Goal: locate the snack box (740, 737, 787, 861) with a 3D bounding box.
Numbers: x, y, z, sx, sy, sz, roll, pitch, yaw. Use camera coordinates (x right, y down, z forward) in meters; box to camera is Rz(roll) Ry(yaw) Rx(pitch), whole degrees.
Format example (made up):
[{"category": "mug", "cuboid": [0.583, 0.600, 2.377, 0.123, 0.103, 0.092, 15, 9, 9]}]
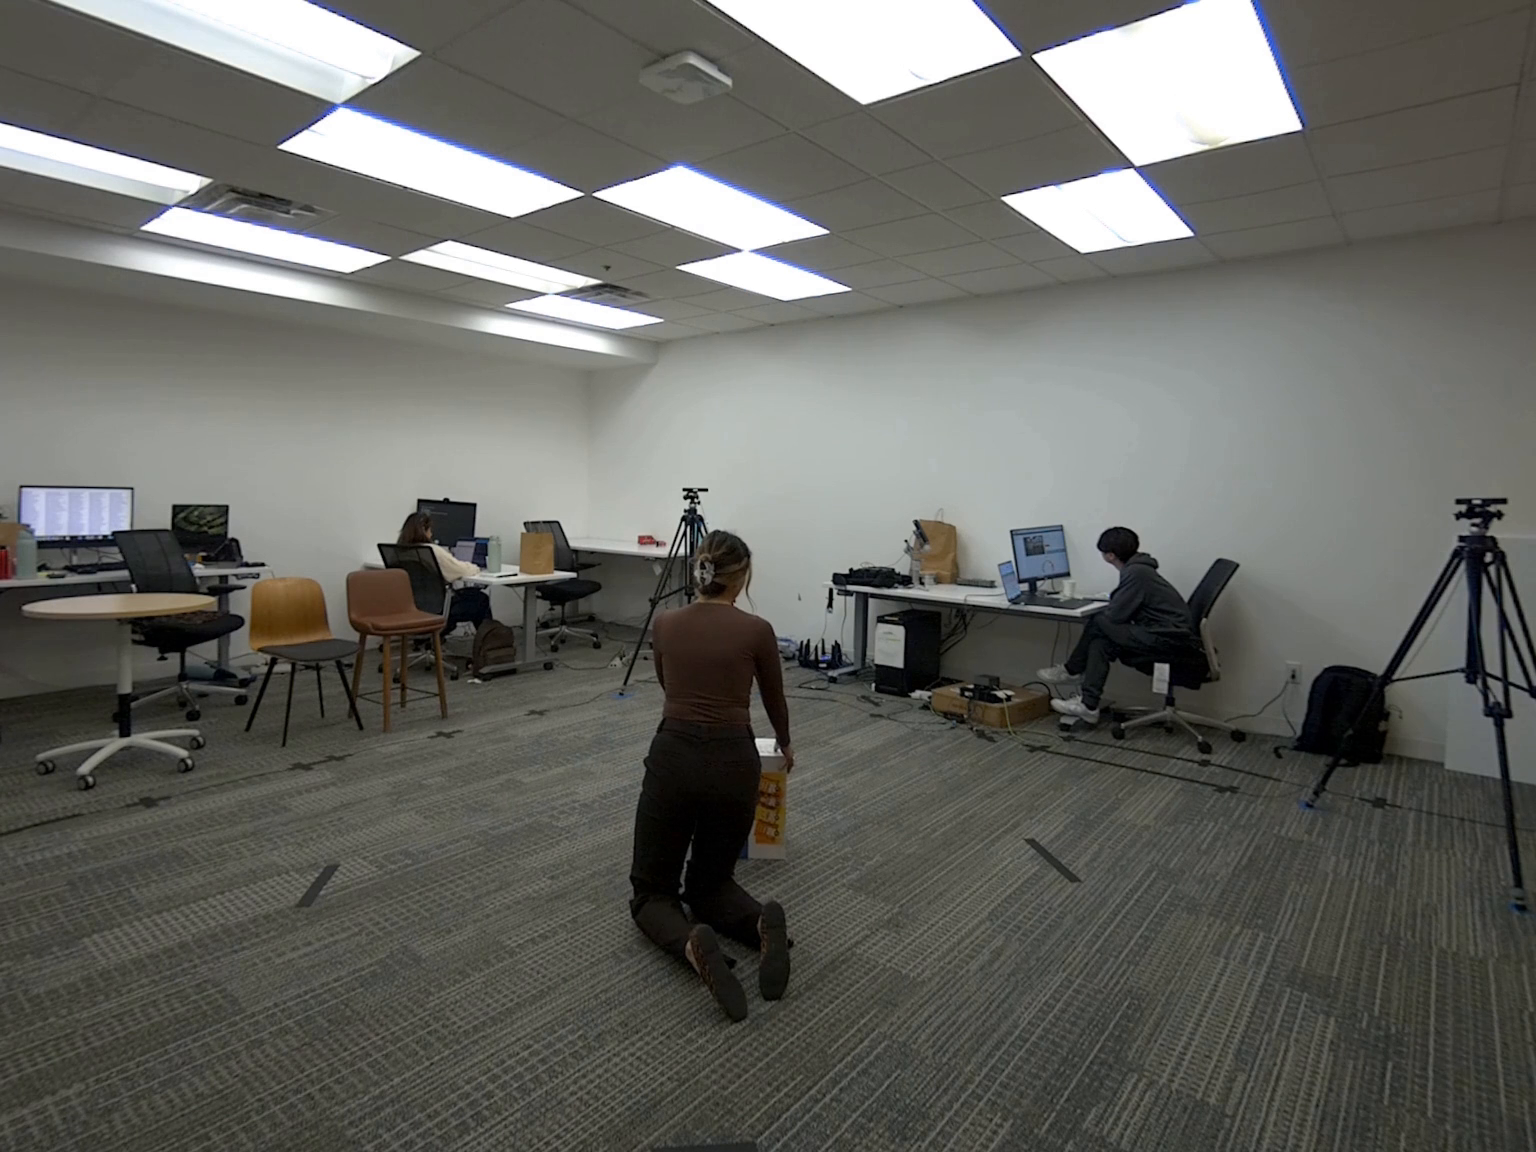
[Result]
[{"category": "snack box", "cuboid": [-0.108, 0.849, 3.290, 0.341, 0.403, 0.206, 0, 5, 2]}]
